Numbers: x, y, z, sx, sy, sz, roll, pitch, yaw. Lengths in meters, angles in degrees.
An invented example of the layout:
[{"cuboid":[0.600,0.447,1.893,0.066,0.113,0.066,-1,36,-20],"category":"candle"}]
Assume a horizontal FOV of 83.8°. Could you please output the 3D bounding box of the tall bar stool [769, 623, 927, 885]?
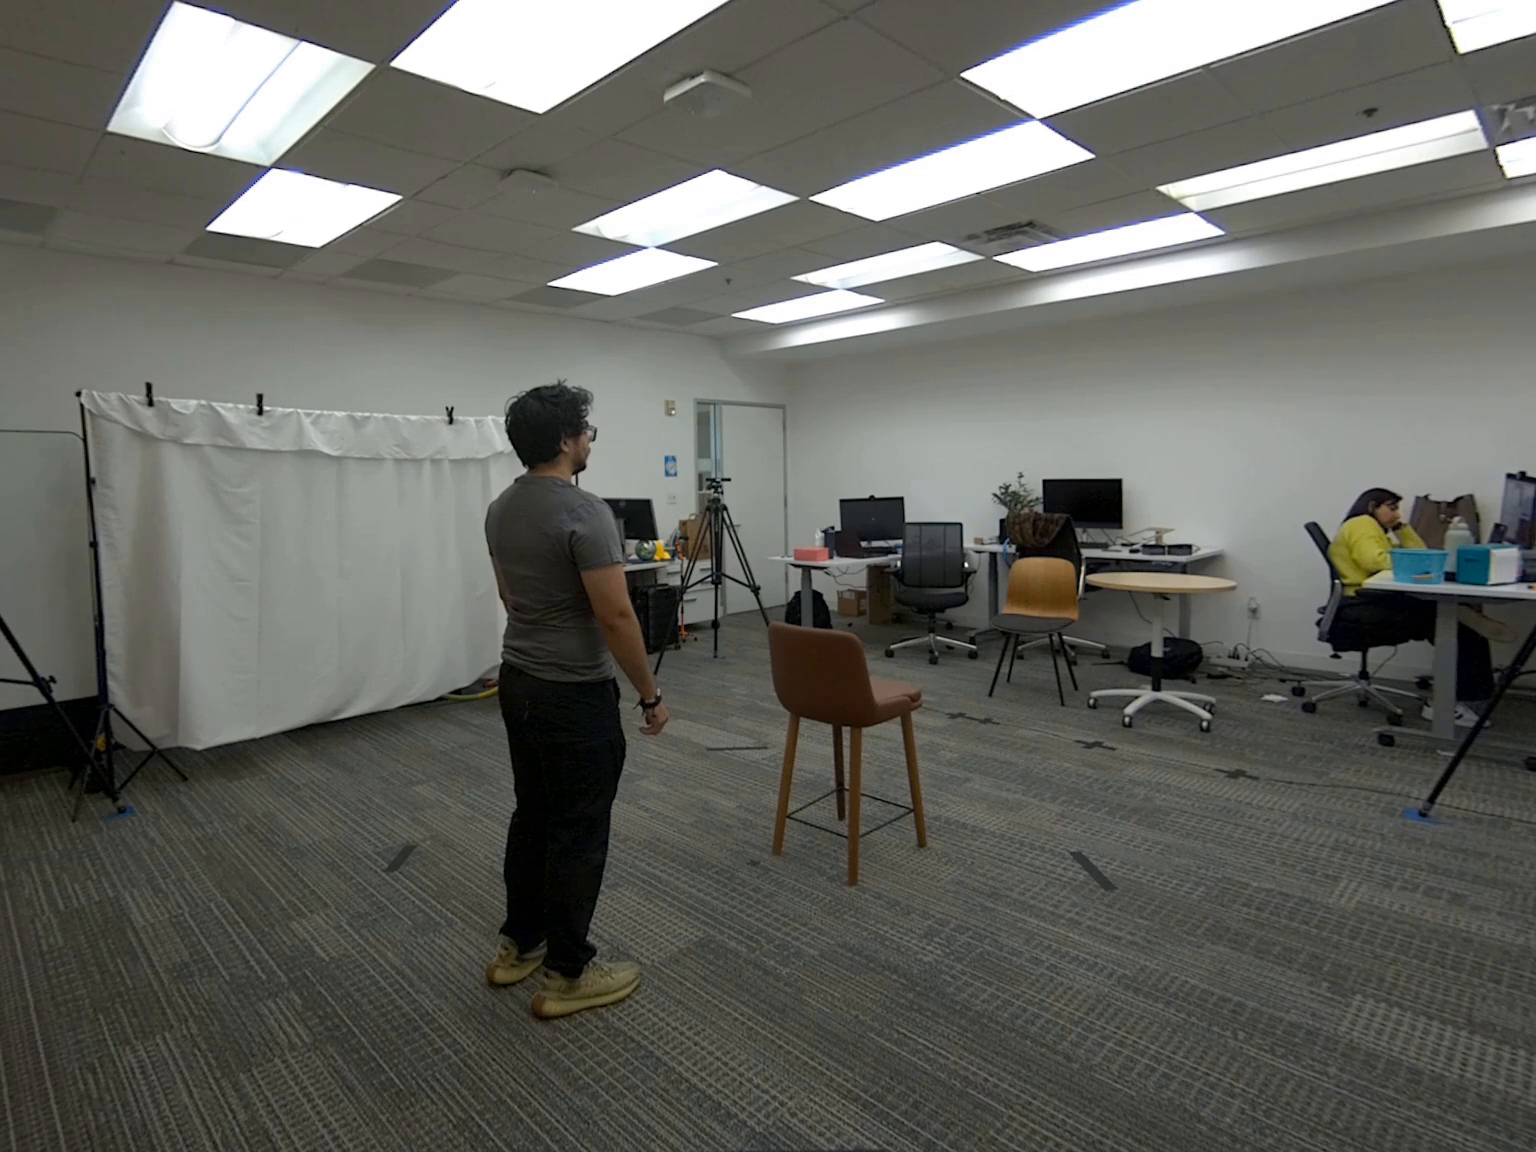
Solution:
[{"cuboid":[0.293,0.593,3.177,0.470,0.885,0.456,3,7,44],"category":"tall bar stool"}]
